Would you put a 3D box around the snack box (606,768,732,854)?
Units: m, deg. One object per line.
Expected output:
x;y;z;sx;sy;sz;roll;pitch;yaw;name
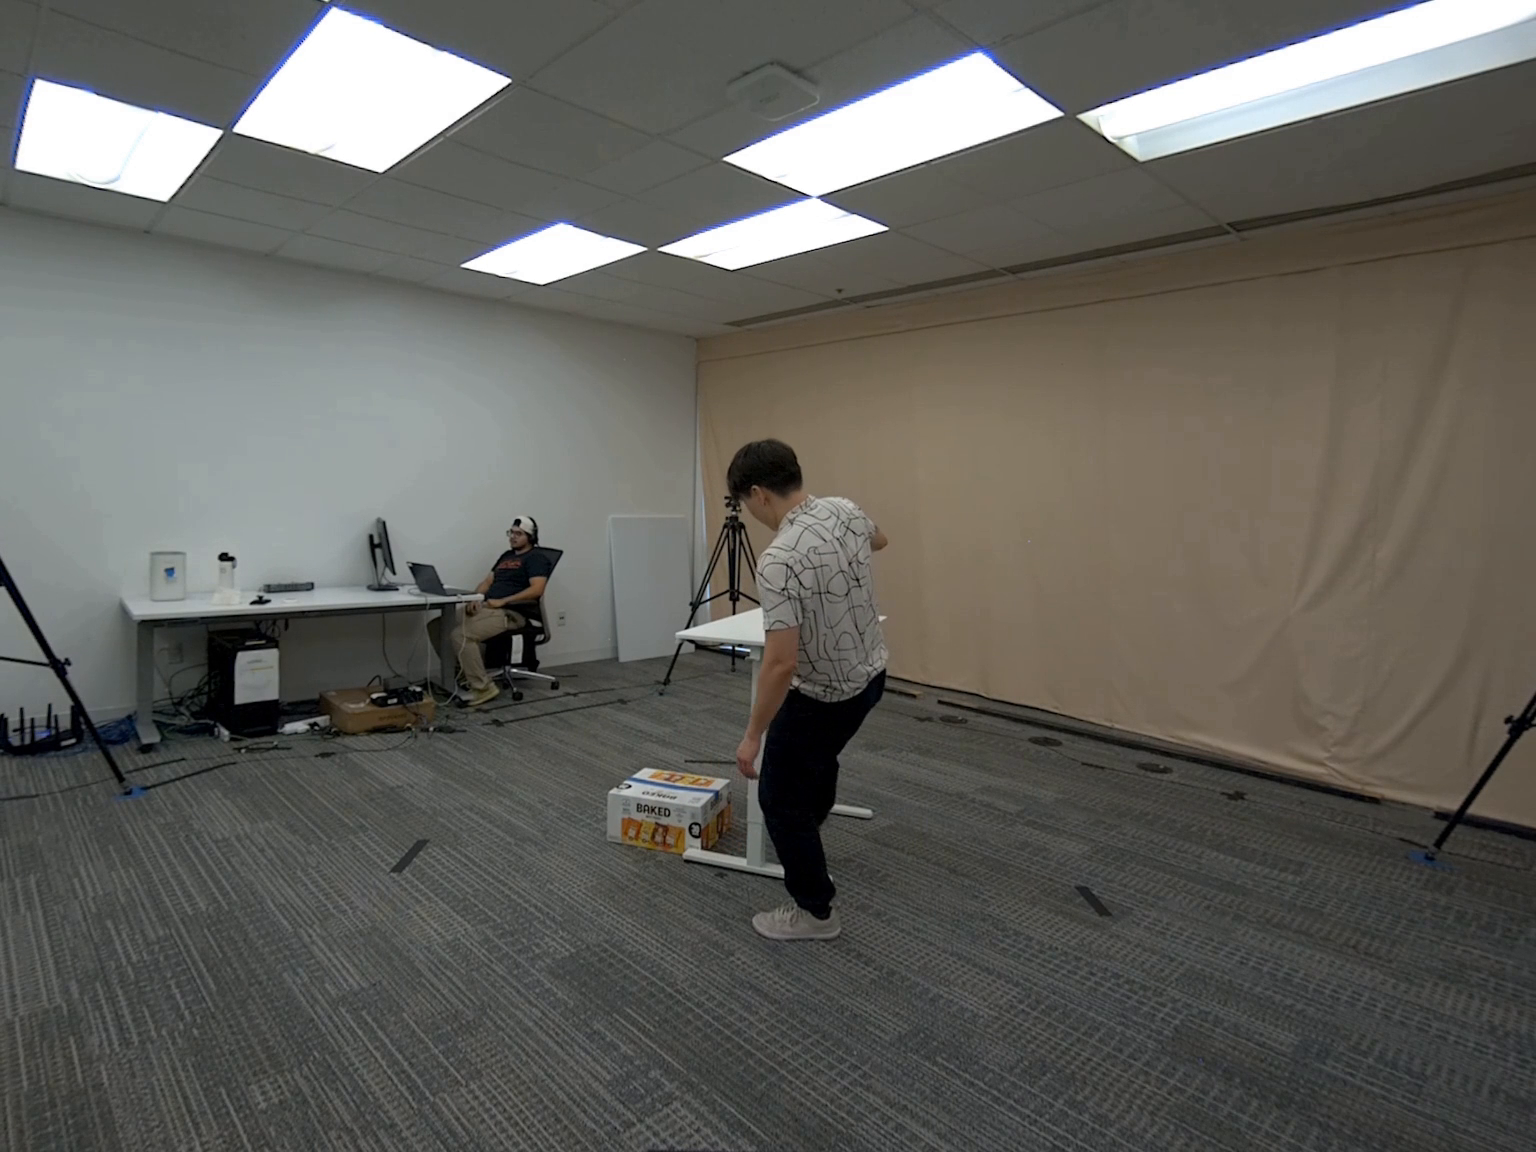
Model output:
-0.409;0.965;3.462;0.411;0.205;0.336;3;4;19;snack box
